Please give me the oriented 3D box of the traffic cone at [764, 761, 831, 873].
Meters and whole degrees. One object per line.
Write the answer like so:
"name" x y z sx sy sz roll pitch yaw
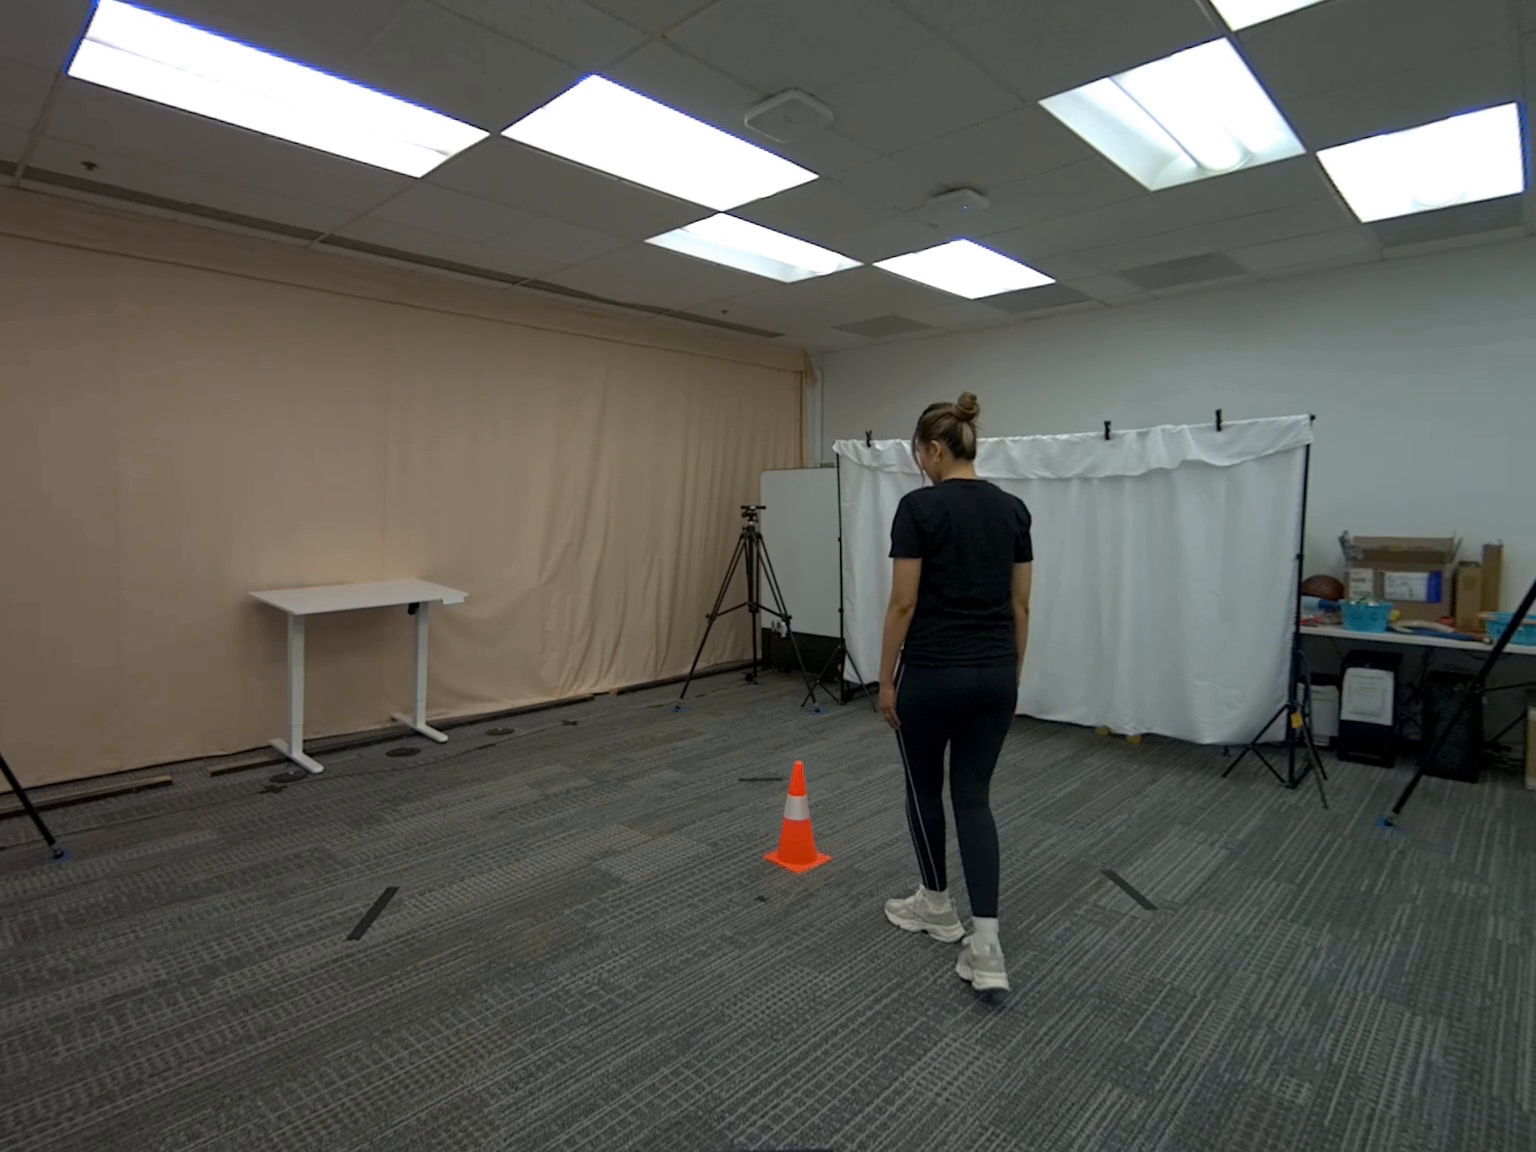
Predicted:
"traffic cone" 0.112 0.932 3.320 0.210 0.383 0.199 2 4 40
